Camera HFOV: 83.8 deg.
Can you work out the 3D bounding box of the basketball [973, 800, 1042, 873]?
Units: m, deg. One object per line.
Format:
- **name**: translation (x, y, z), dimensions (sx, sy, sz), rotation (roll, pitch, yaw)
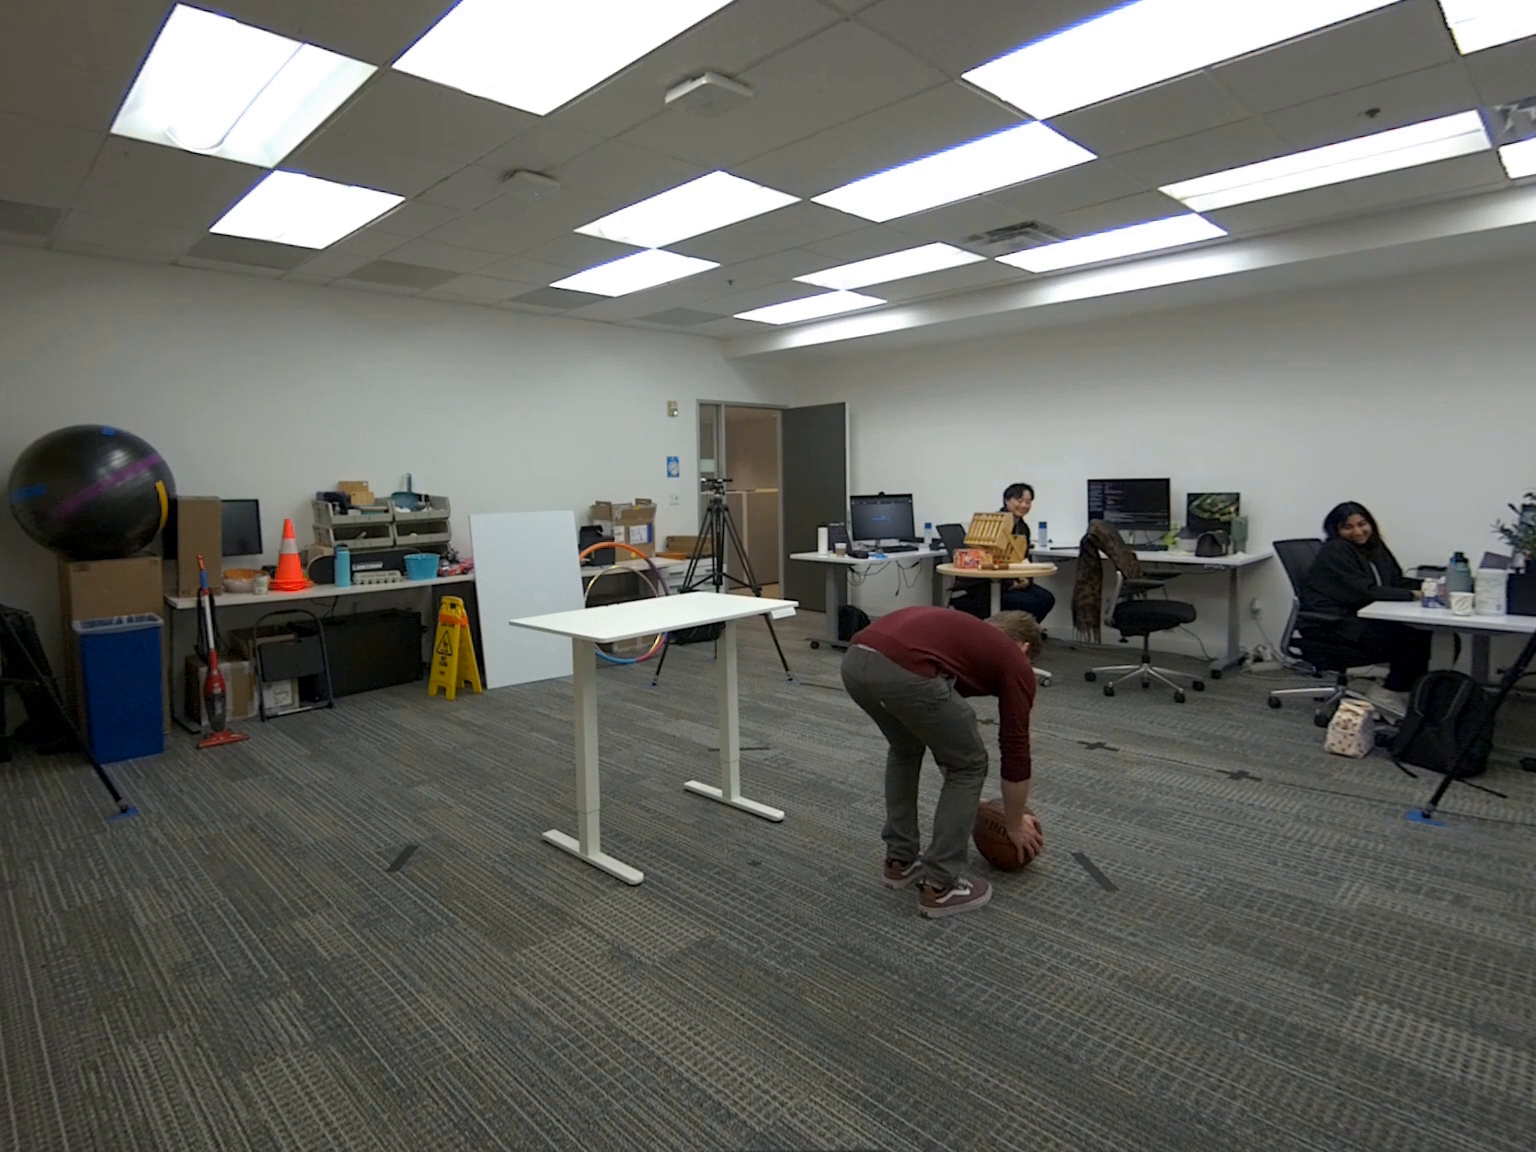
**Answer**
- **basketball**: translation (0.850, 0.910, 3.052), dimensions (0.236, 0.235, 0.237), rotation (-1, 5, -2)
